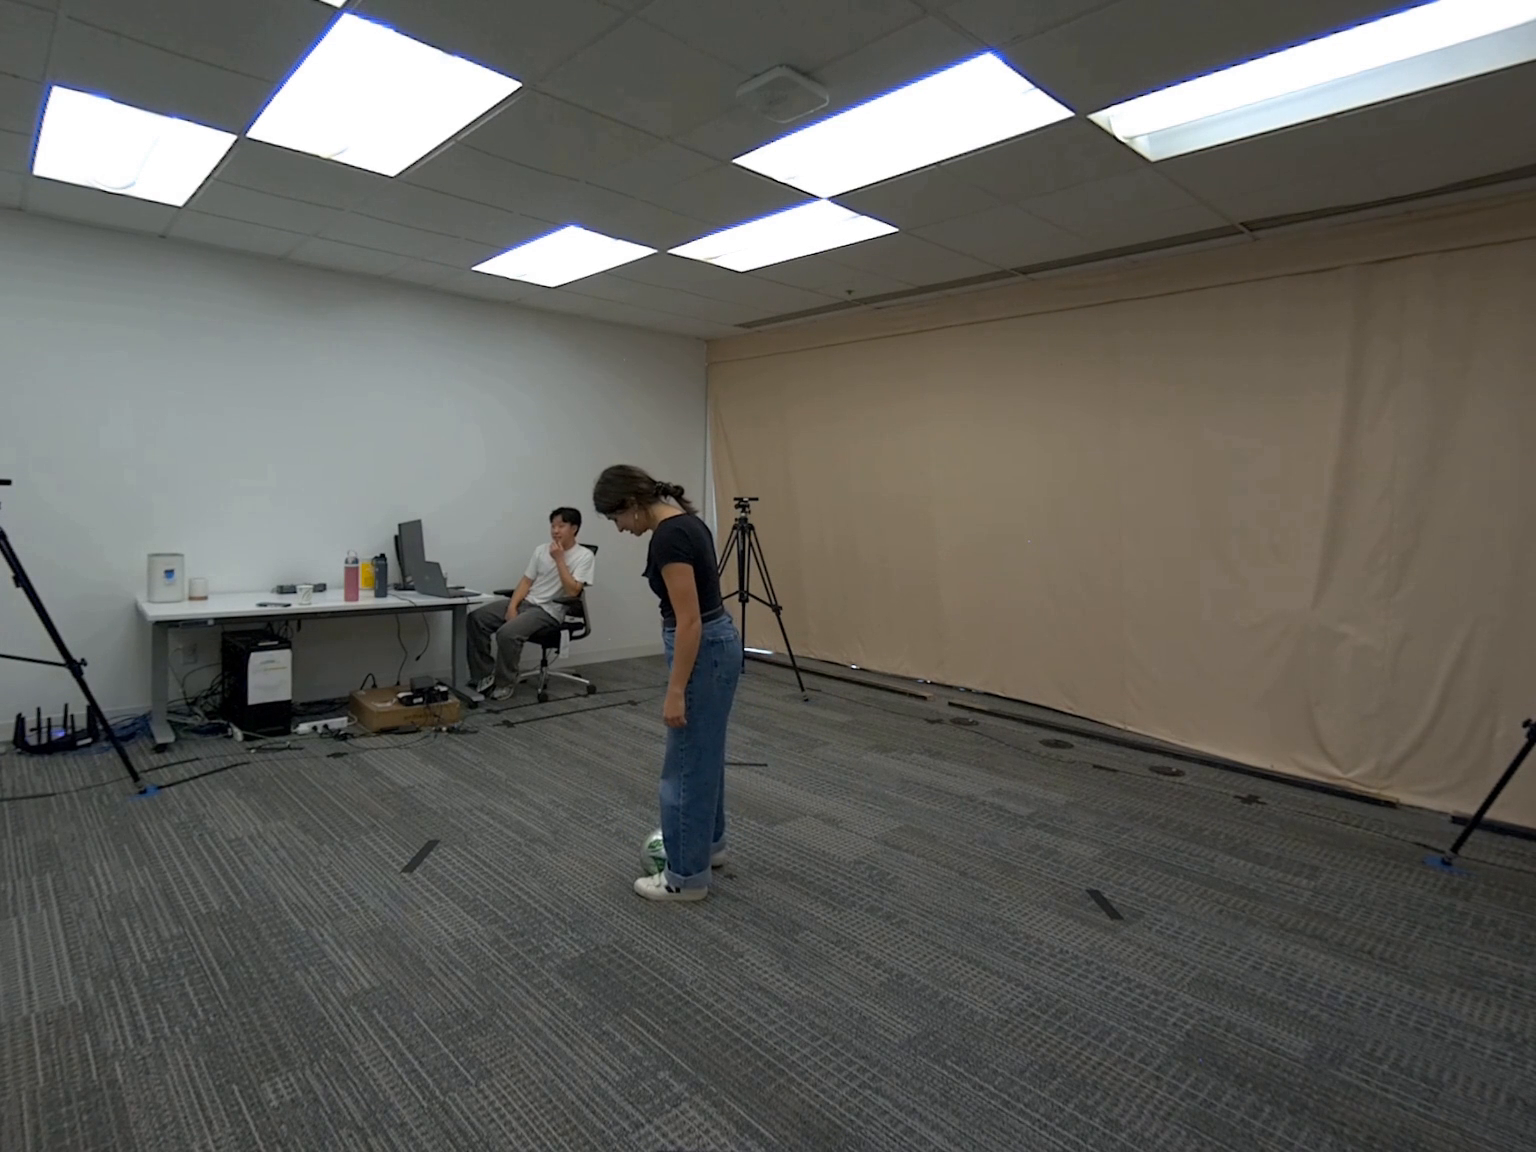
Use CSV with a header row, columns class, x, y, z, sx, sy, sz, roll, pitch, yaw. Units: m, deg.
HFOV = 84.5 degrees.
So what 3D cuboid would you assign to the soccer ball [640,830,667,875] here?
class,x,y,z,sx,sy,sz,roll,pitch,yaw
soccer ball,-0.379,1.021,3.063,0.187,0.187,0.188,1,4,-1
